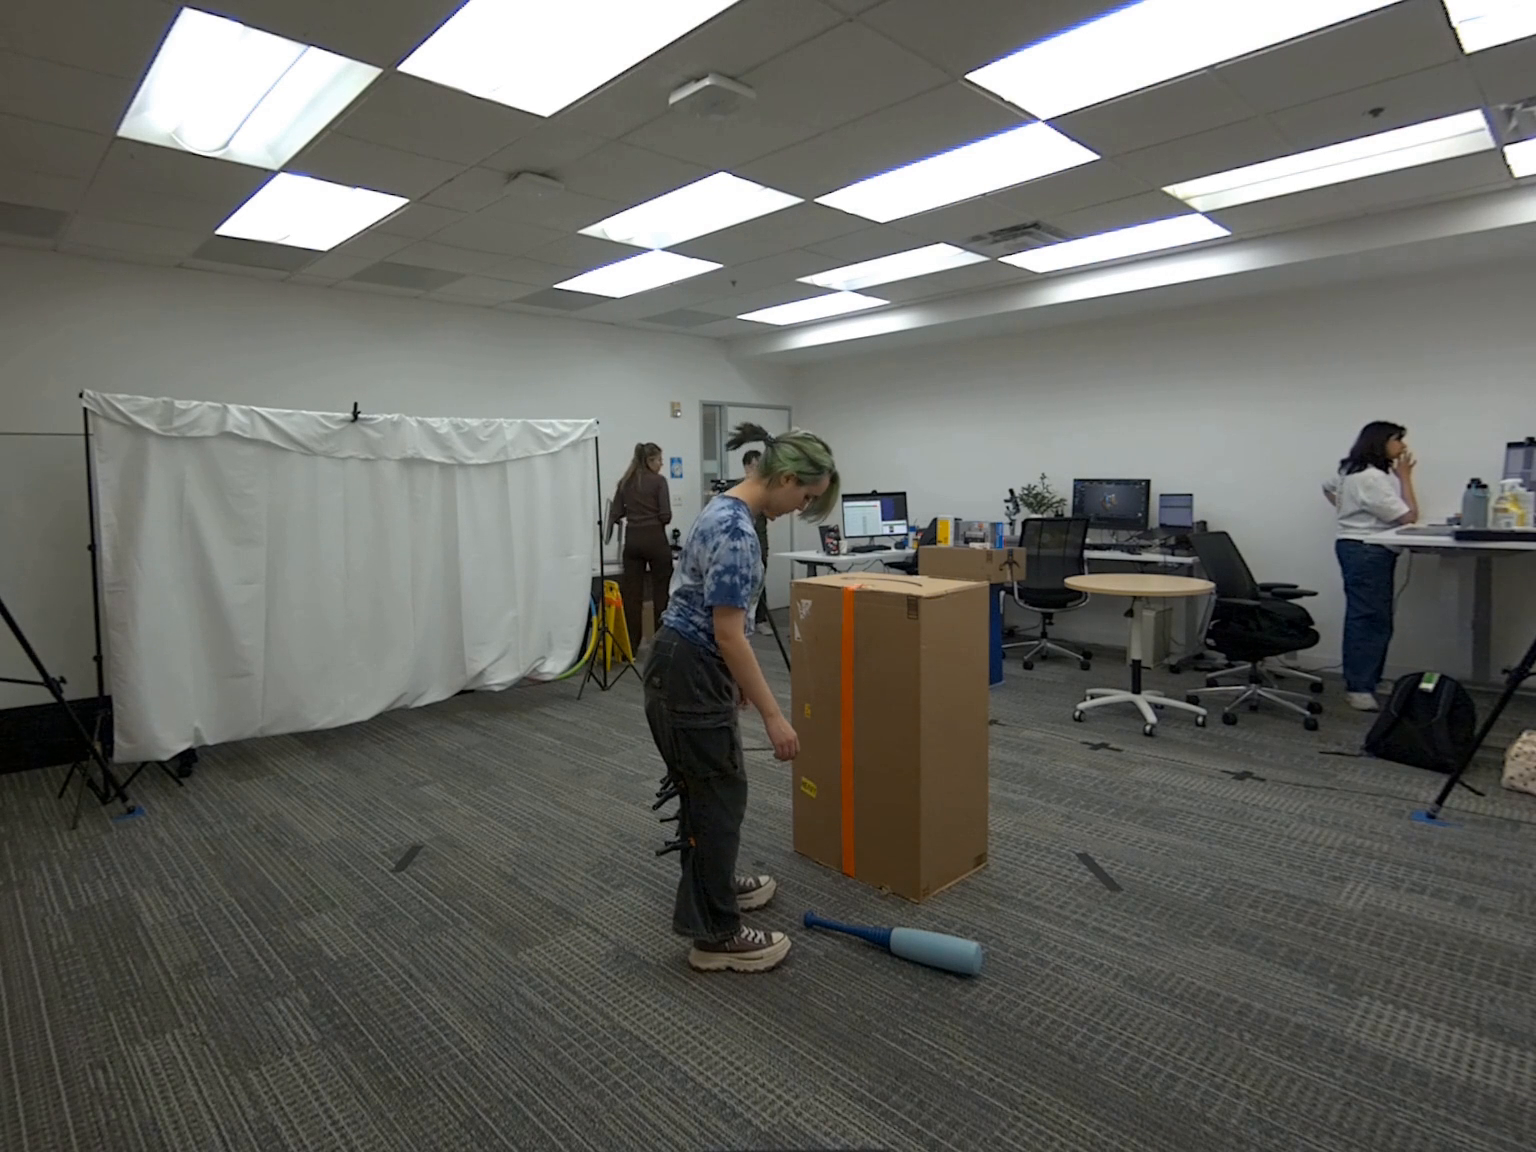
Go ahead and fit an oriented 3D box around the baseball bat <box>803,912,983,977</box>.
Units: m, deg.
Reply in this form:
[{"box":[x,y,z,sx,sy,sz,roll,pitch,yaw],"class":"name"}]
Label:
[{"box":[0.370,1.084,2.518,0.556,0.089,0.087,-3,3,33],"class":"baseball bat"}]
